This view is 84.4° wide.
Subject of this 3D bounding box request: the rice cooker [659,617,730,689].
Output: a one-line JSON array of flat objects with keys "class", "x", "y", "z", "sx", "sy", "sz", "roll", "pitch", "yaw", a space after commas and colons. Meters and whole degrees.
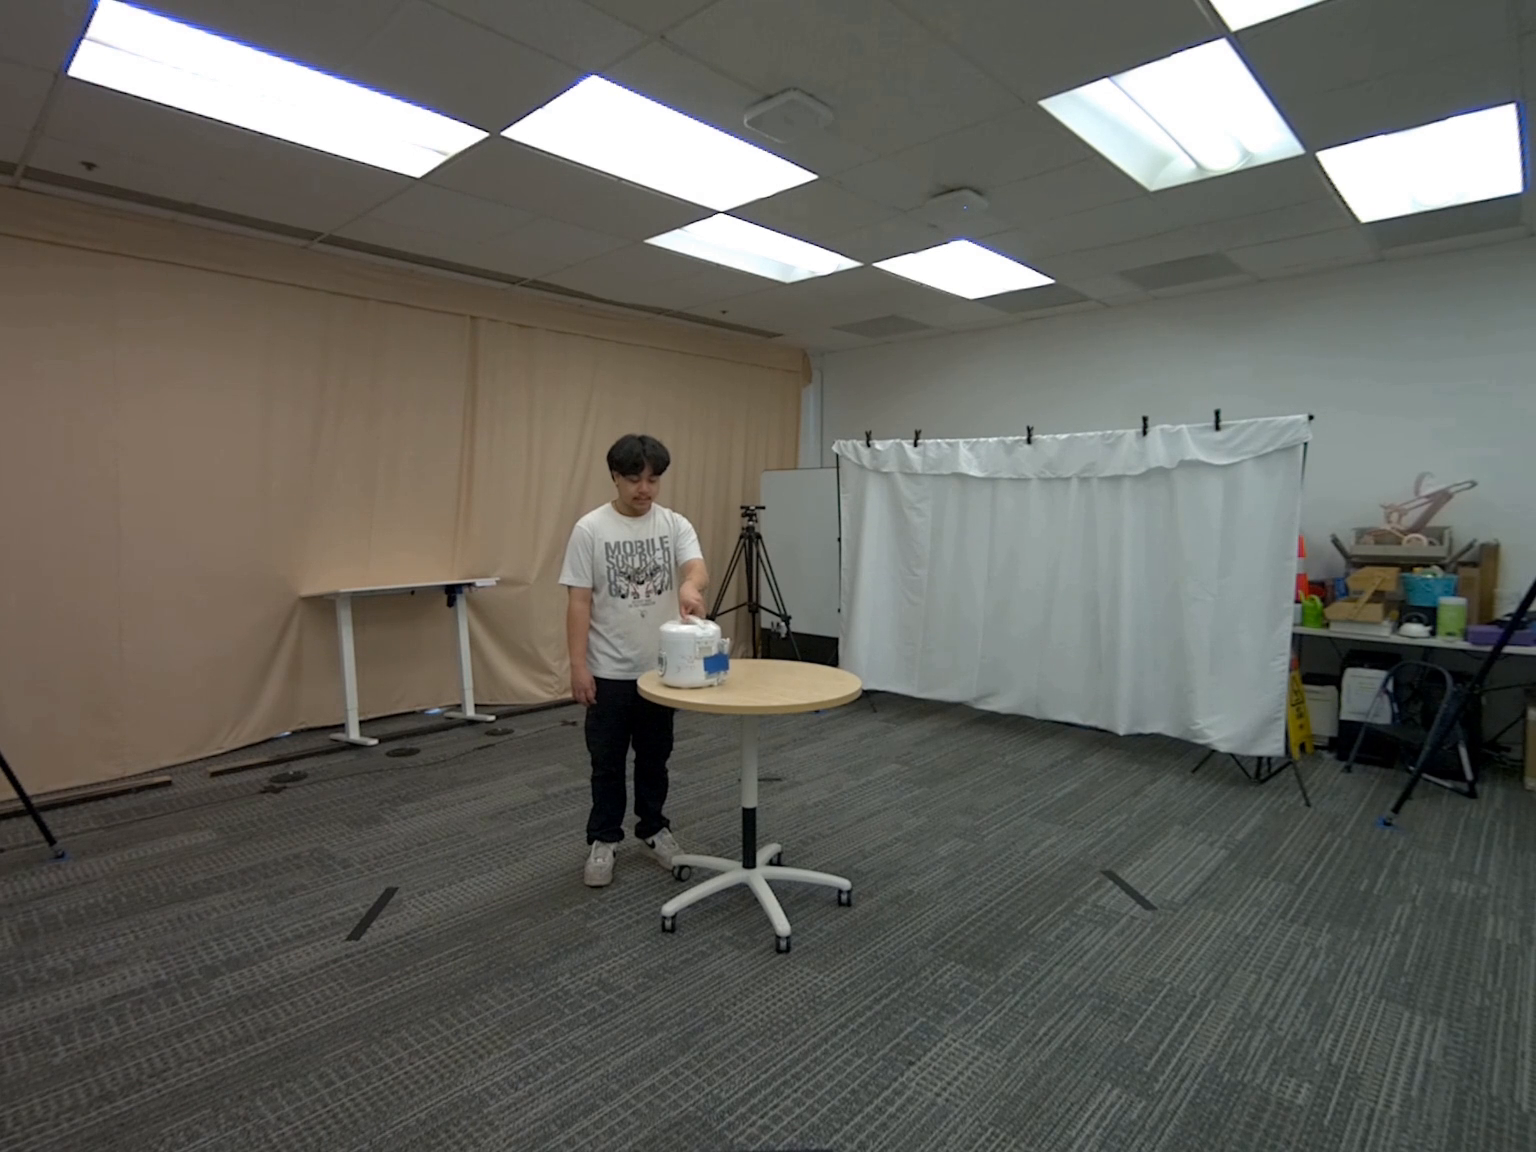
[{"class": "rice cooker", "x": -0.256, "y": 0.247, "z": 2.811, "sx": 0.211, "sy": 0.232, "sz": 0.227, "roll": 0, "pitch": 3, "yaw": -32}]
